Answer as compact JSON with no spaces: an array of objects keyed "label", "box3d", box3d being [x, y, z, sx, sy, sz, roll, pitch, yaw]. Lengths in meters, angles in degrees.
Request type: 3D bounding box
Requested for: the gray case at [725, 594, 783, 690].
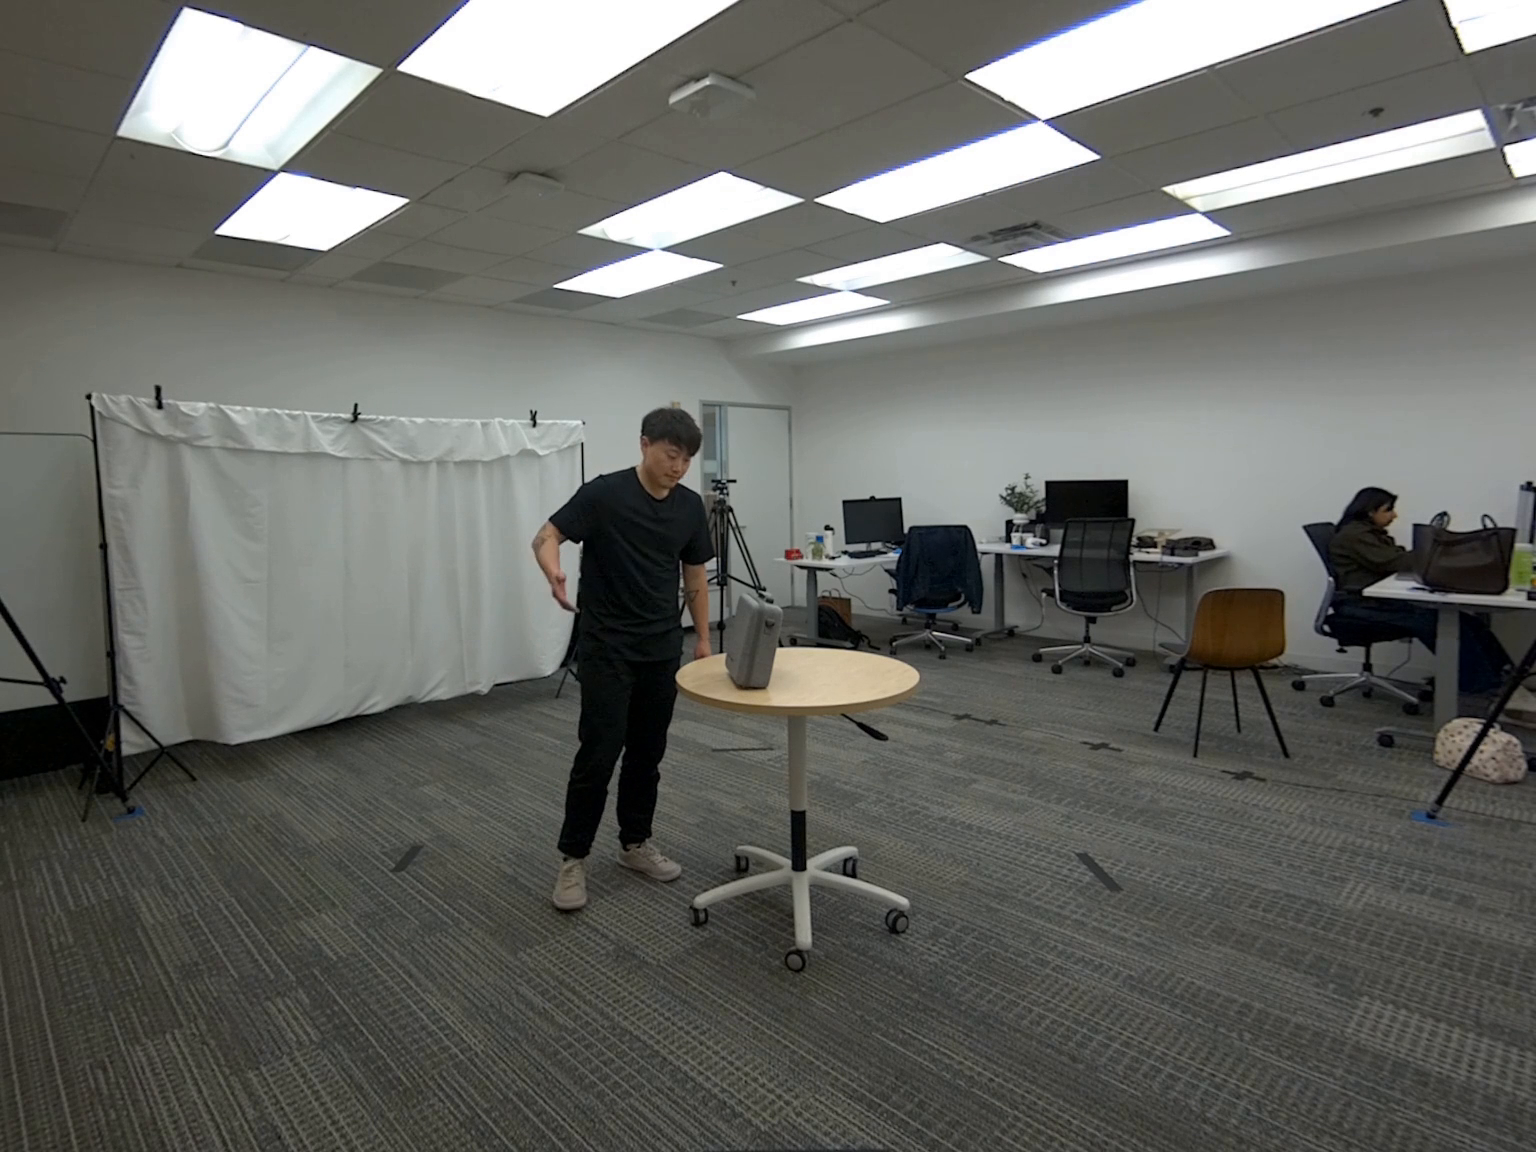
[{"label":"gray case","box3d":[-0.044,0.191,2.619,0.103,0.260,0.259,7,4,-8]}]
